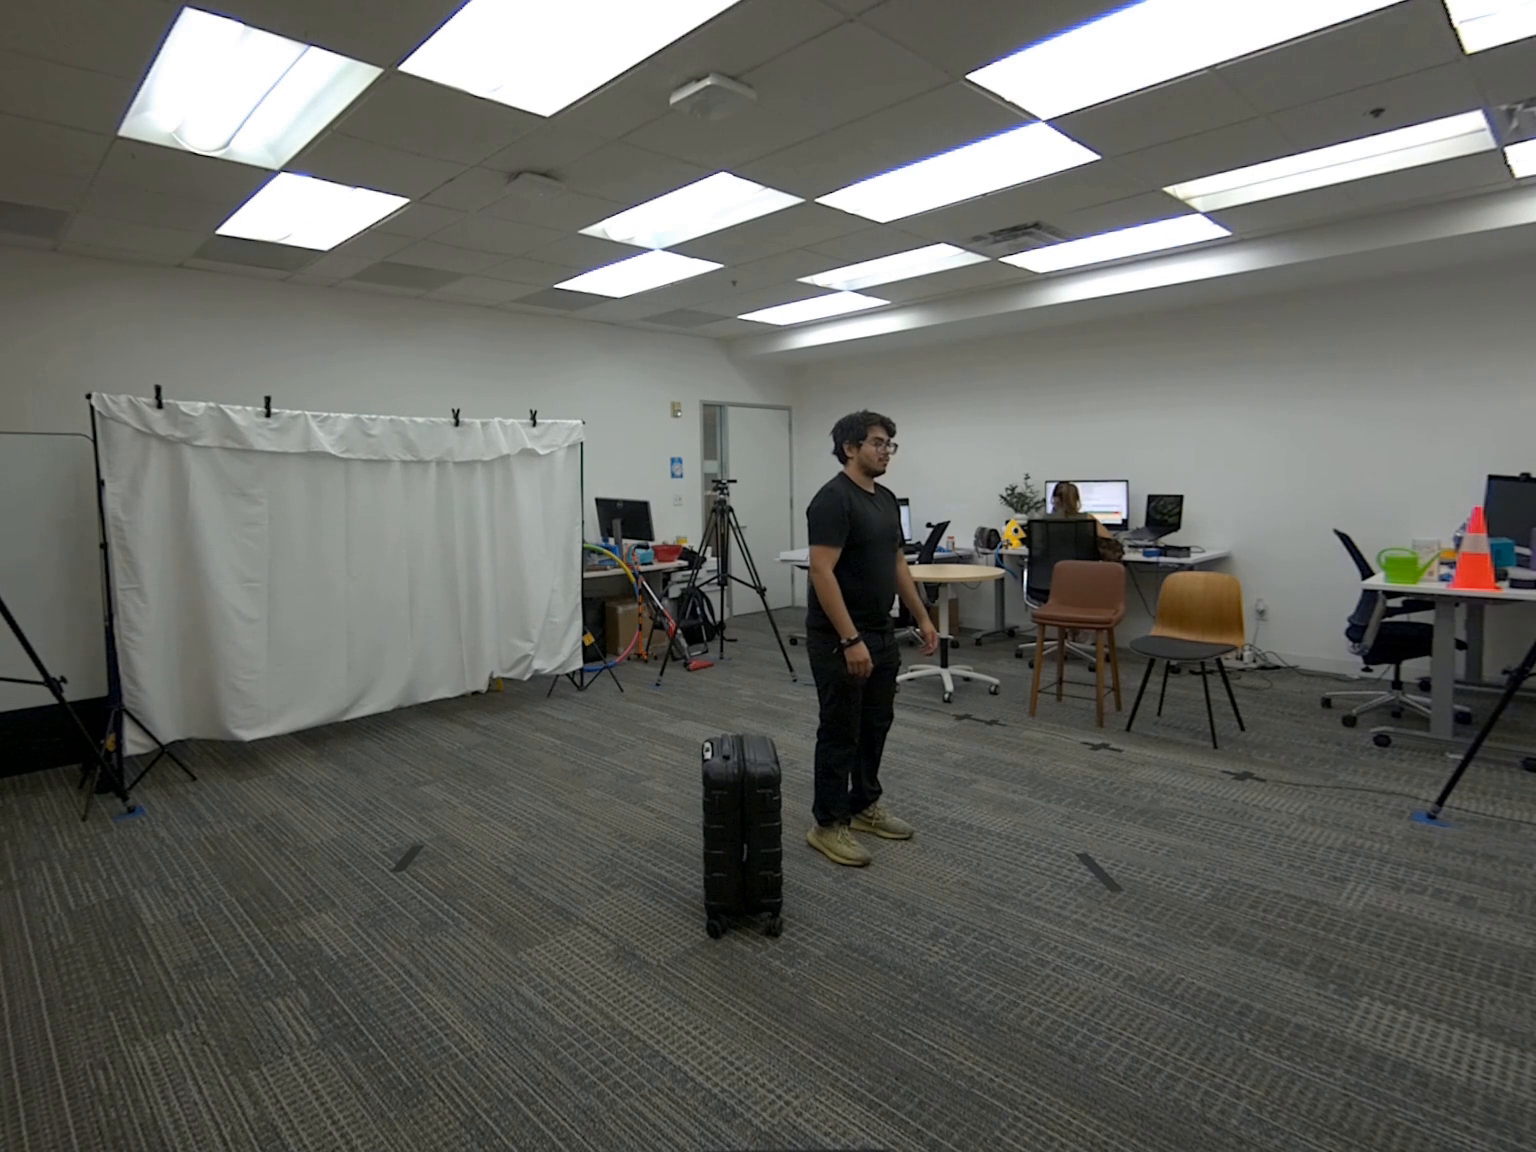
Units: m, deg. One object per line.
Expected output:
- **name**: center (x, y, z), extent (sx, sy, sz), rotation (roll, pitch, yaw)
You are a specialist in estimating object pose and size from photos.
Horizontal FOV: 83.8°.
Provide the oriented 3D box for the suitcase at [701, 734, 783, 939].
- **suitcase**: center (-0.090, 0.811, 2.769), extent (0.247, 0.548, 0.378), rotation (-1, 4, -4)
